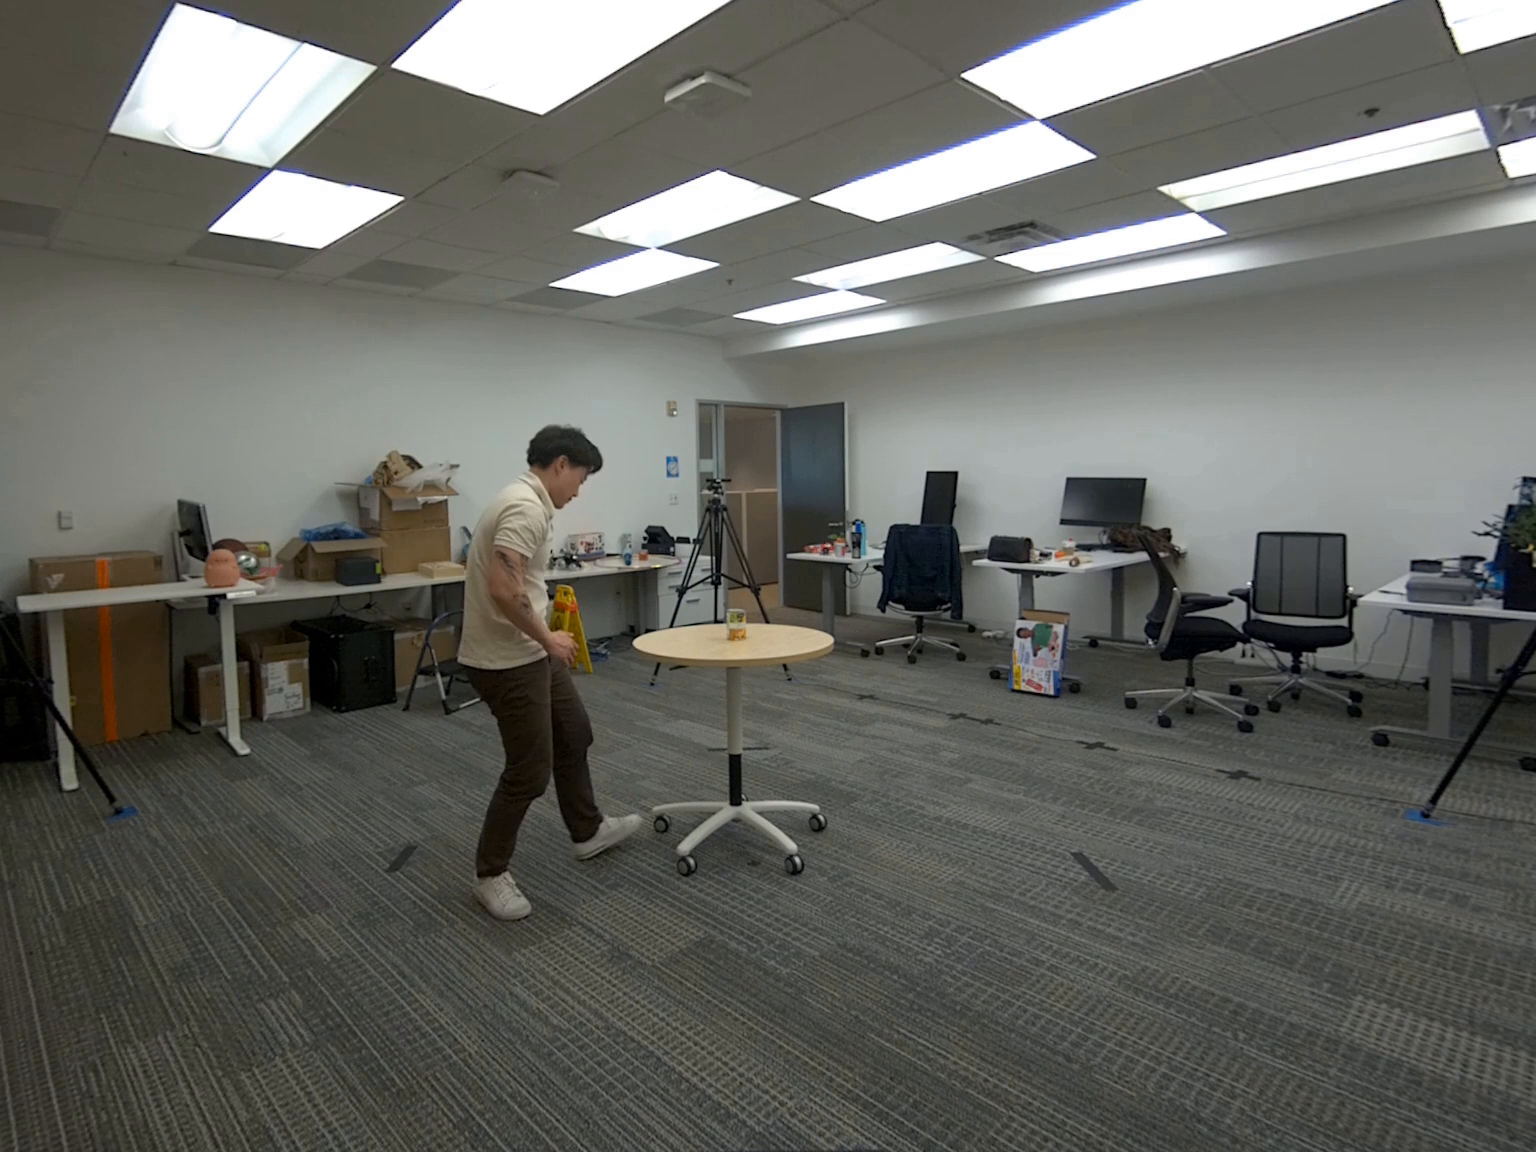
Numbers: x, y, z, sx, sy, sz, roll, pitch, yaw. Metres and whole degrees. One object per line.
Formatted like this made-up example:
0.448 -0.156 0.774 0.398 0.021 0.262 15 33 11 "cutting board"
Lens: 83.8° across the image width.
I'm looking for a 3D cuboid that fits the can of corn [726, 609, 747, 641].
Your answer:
-0.118 0.186 3.274 0.074 0.111 0.074 0 3 -2 "can of corn"
